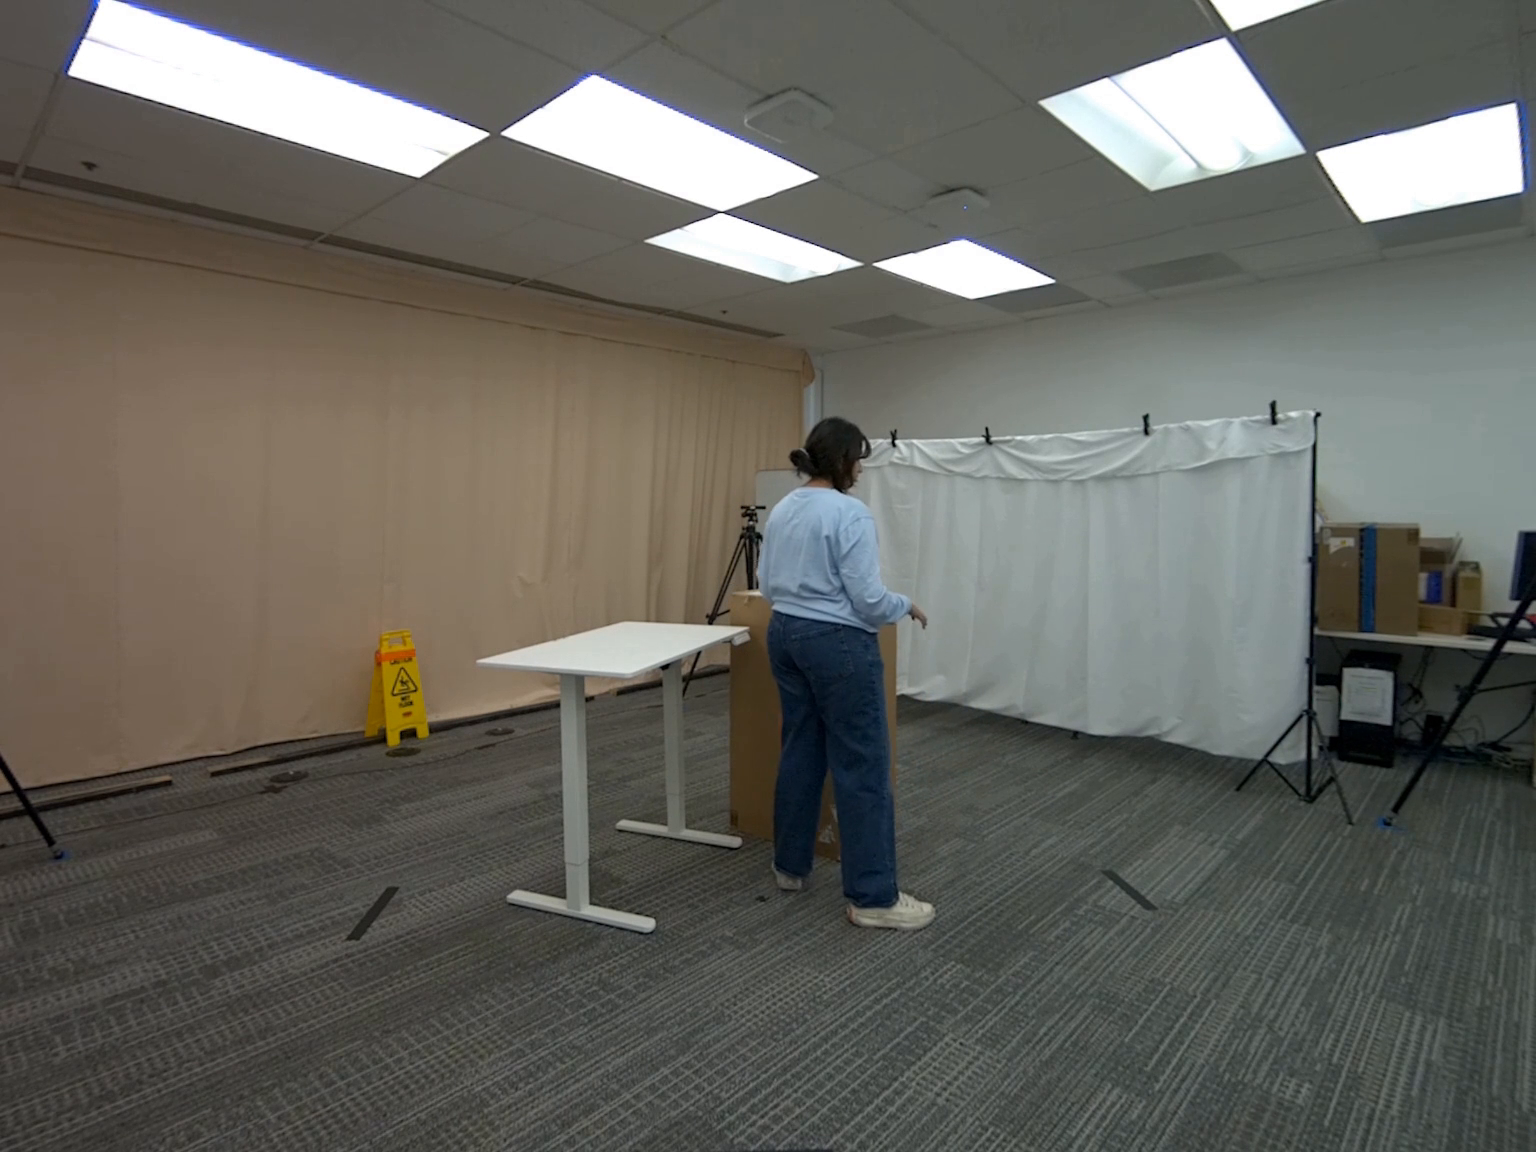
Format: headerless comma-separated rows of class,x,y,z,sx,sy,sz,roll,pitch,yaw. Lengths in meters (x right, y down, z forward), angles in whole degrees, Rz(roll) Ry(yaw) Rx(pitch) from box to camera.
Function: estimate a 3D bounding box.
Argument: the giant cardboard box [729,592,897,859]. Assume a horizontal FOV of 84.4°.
giant cardboard box,0.189,0.584,3.596,0.596,1.024,0.413,2,4,38
